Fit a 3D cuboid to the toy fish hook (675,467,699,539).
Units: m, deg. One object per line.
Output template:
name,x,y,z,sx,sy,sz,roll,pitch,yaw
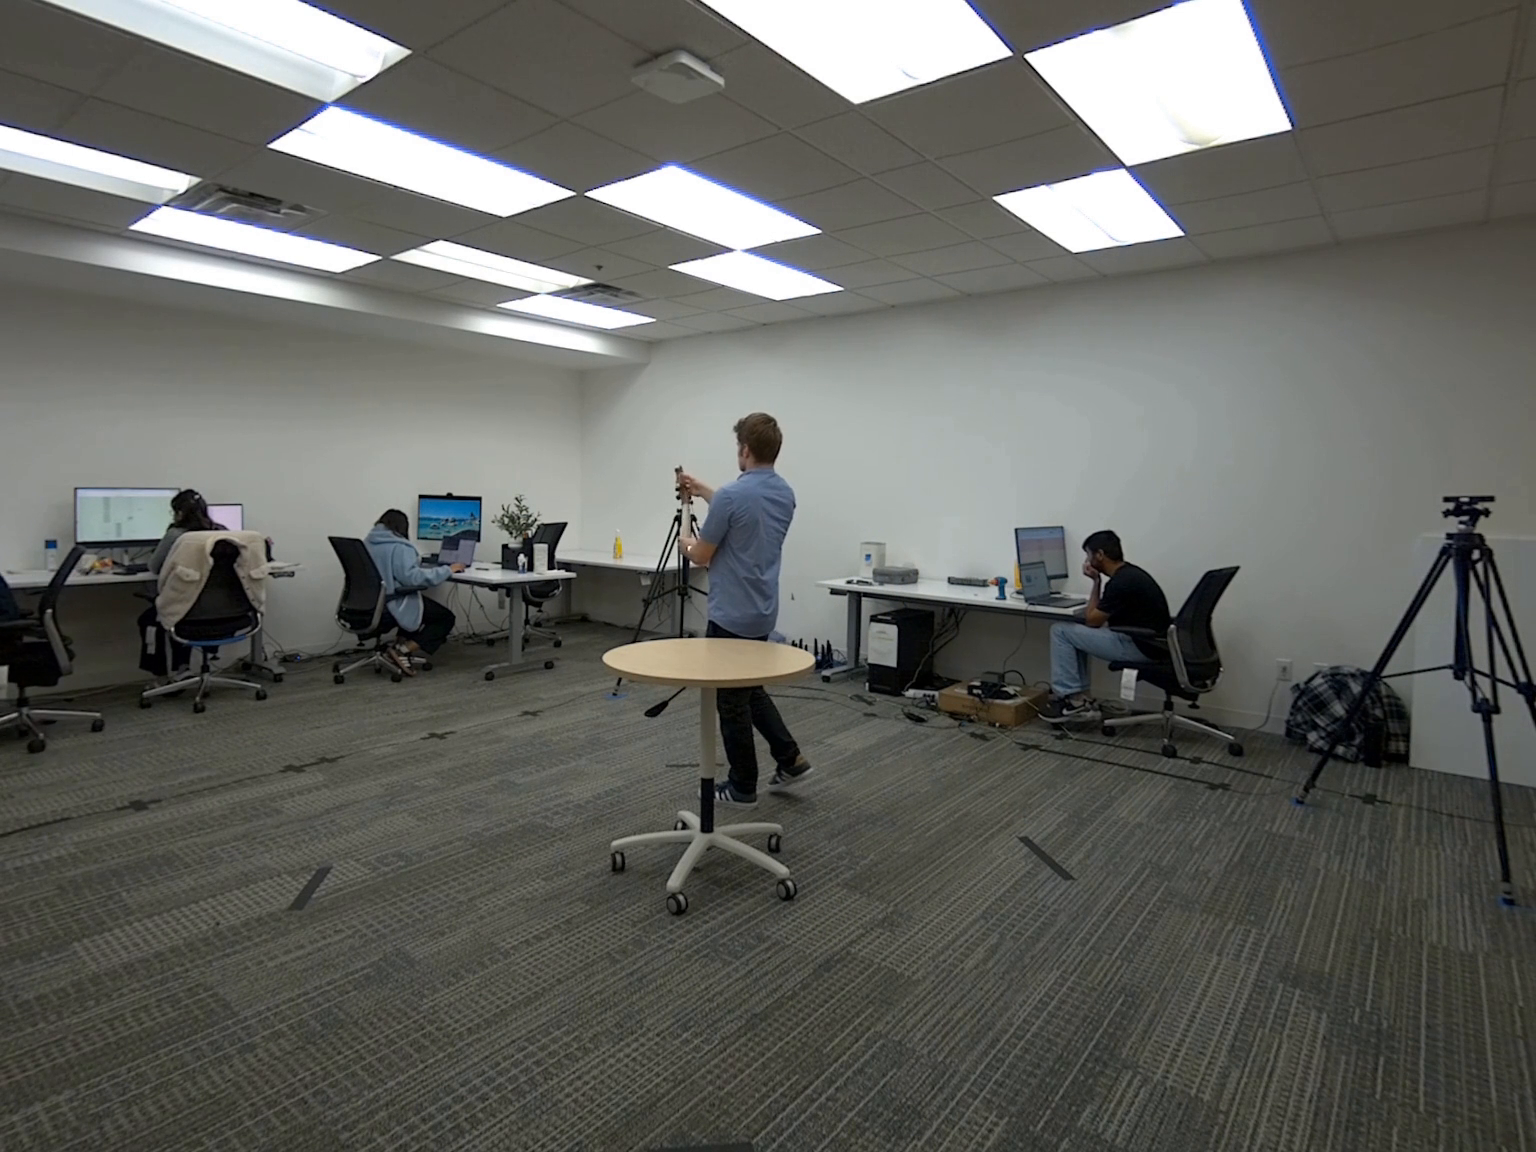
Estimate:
toy fish hook,-0.369,-0.295,4.097,0.049,0.515,0.217,-19,-17,27
